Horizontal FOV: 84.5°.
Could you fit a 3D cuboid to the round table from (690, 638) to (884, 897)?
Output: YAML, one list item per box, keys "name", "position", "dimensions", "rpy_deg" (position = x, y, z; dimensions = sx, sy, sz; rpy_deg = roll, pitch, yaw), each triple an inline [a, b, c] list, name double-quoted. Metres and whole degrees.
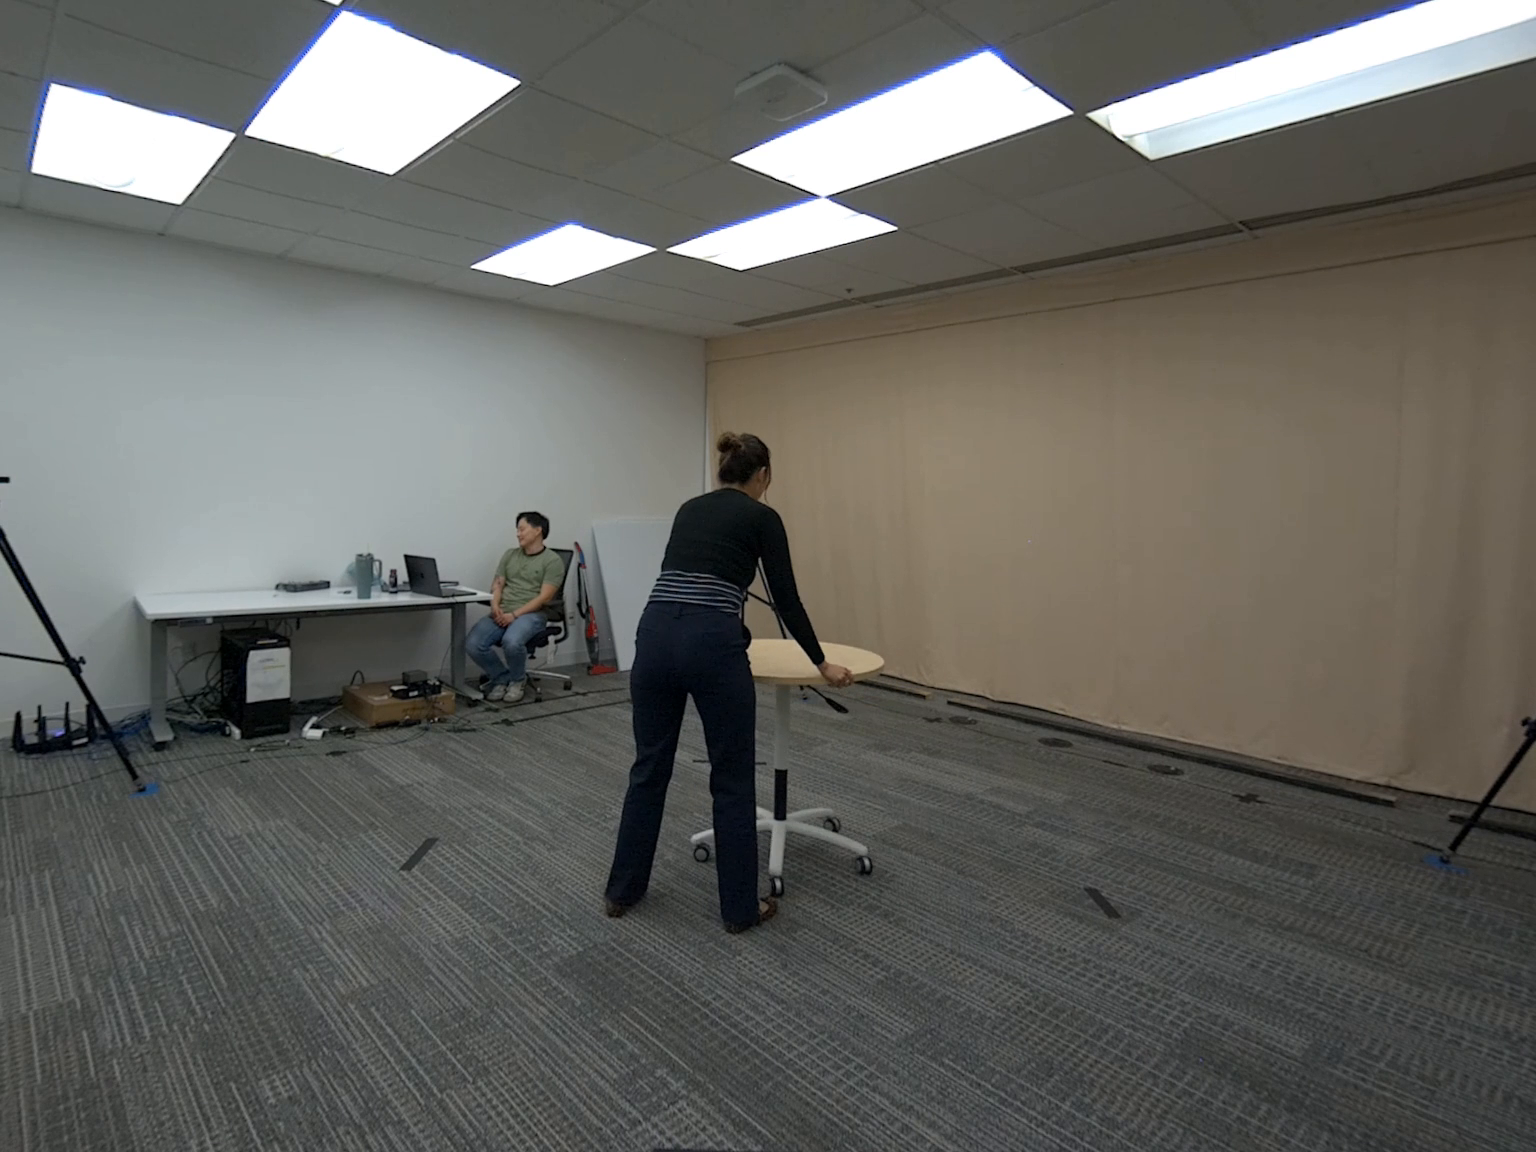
- name: "round table"
  position: [0.044, 0.704, 3.273]
  dimensions: [0.763, 0.792, 0.766]
  rpy_deg: [1, 4, -1]
